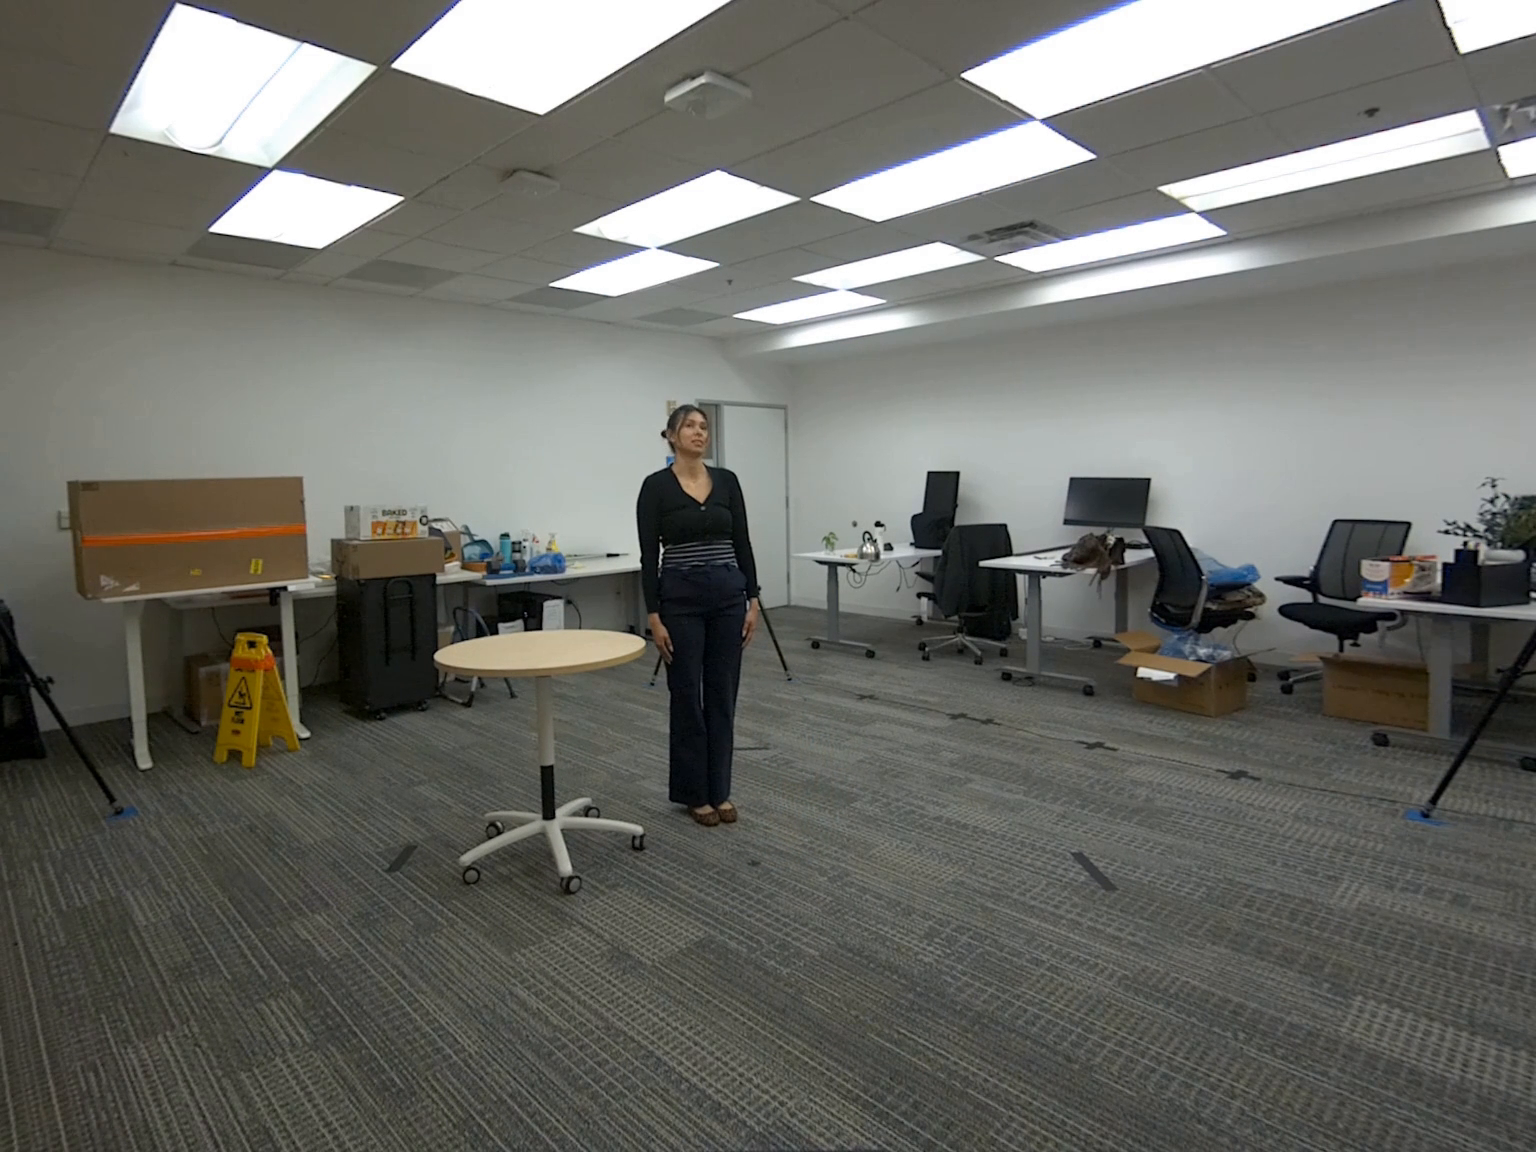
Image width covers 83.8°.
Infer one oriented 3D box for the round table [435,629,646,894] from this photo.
[{"bbox_3d":[-0.815,0.657,3.185,0.763,0.791,0.767,-2,4,-2],"label":"round table"}]
